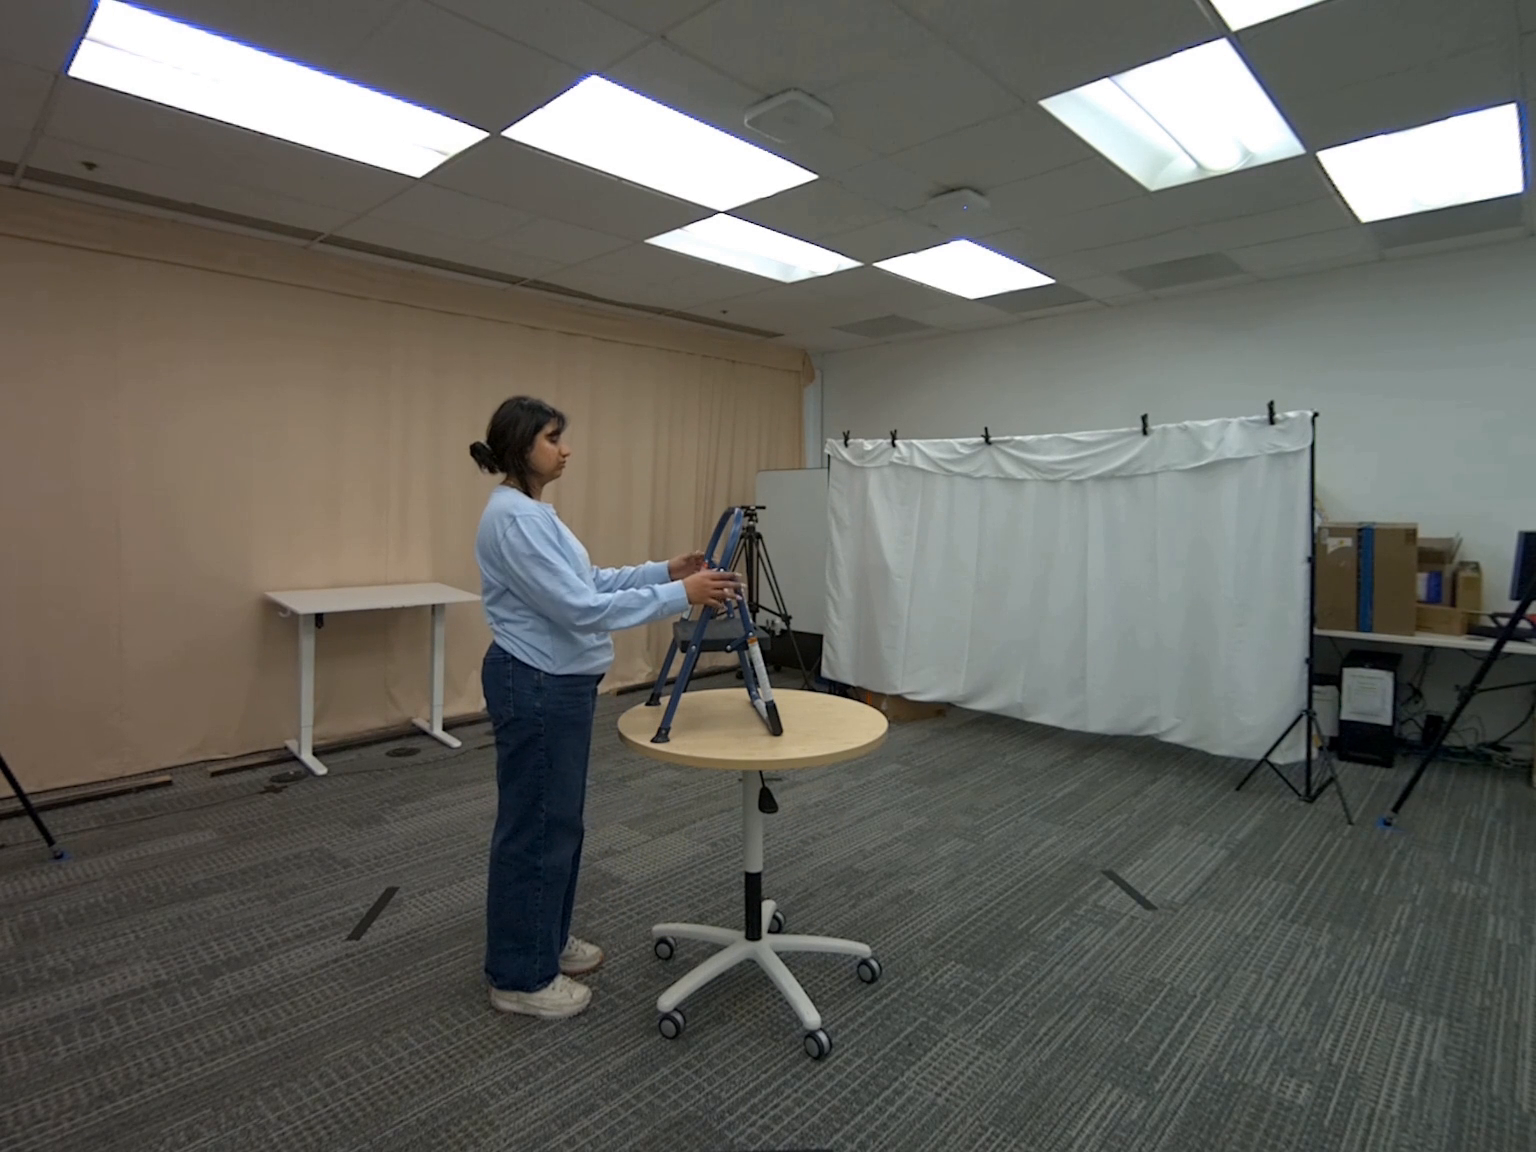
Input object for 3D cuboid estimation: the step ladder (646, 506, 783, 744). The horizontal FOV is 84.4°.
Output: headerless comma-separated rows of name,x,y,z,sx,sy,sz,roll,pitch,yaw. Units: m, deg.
step ladder,-0.165,0.110,2.382,0.346,0.605,0.435,-2,3,-9
